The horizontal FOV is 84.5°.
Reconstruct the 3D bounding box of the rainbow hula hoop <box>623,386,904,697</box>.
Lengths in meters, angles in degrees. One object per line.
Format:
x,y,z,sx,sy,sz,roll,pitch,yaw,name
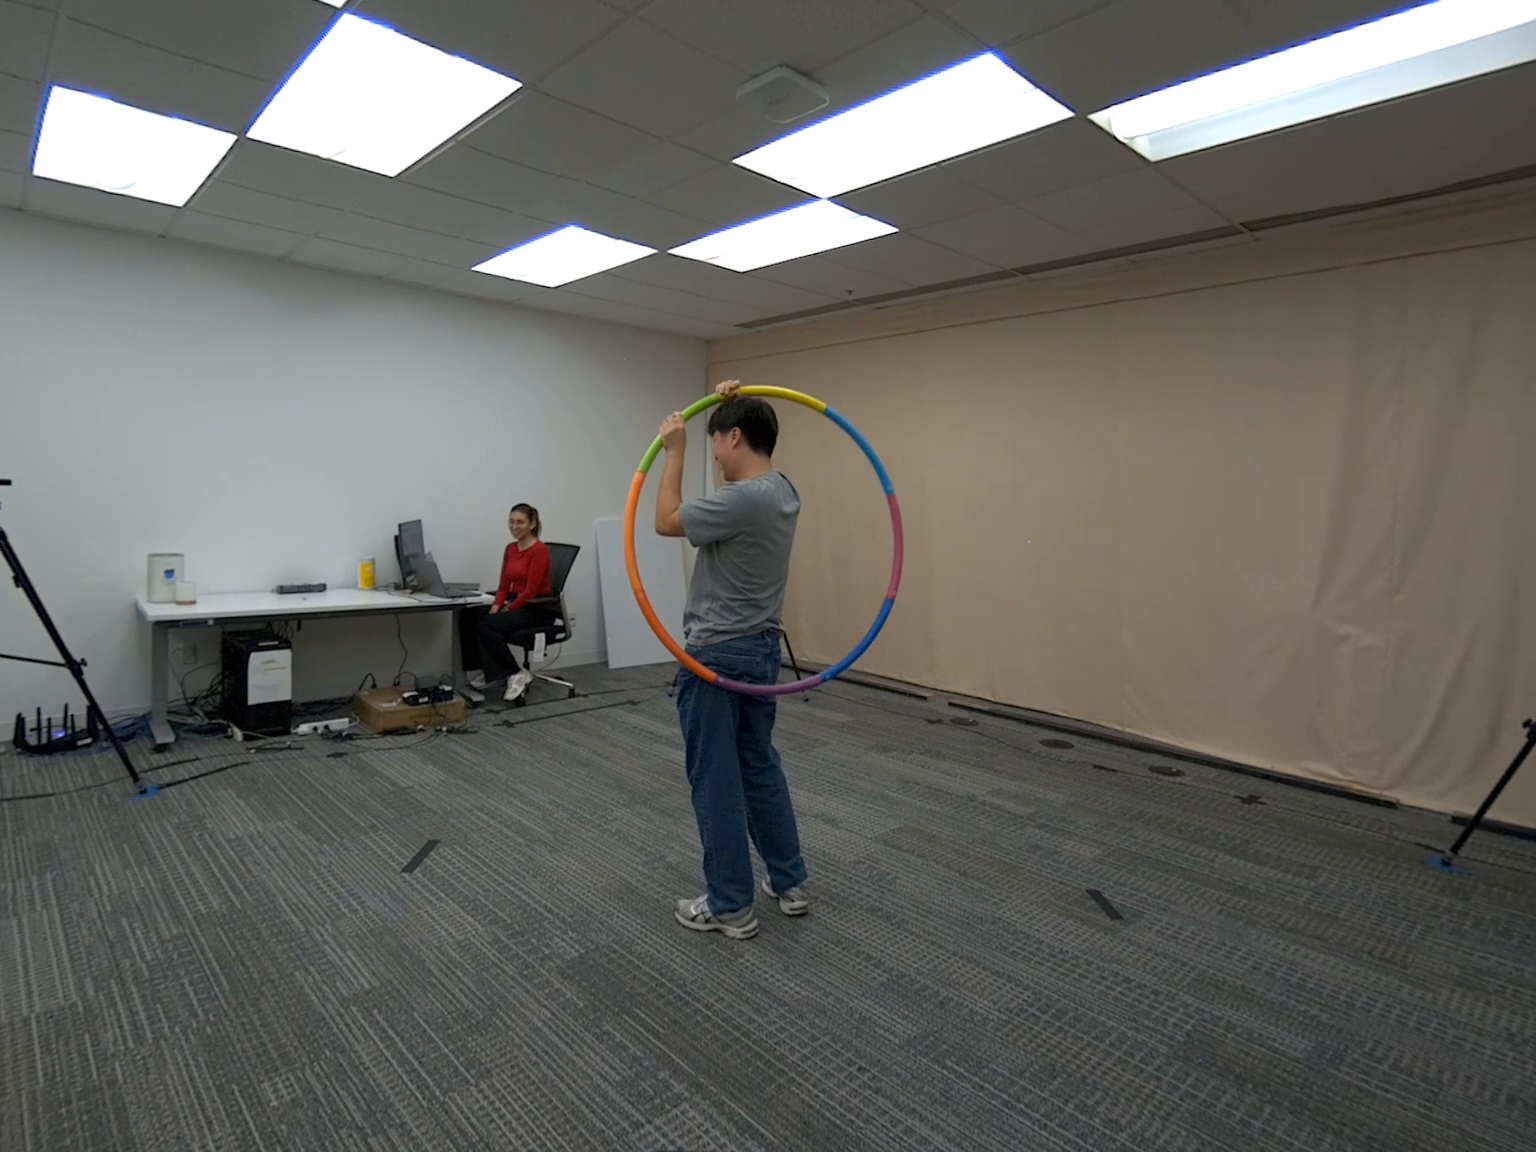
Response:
-0.010,-0.122,2.733,0.965,0.984,0.036,0,-7,-18,rainbow hula hoop
